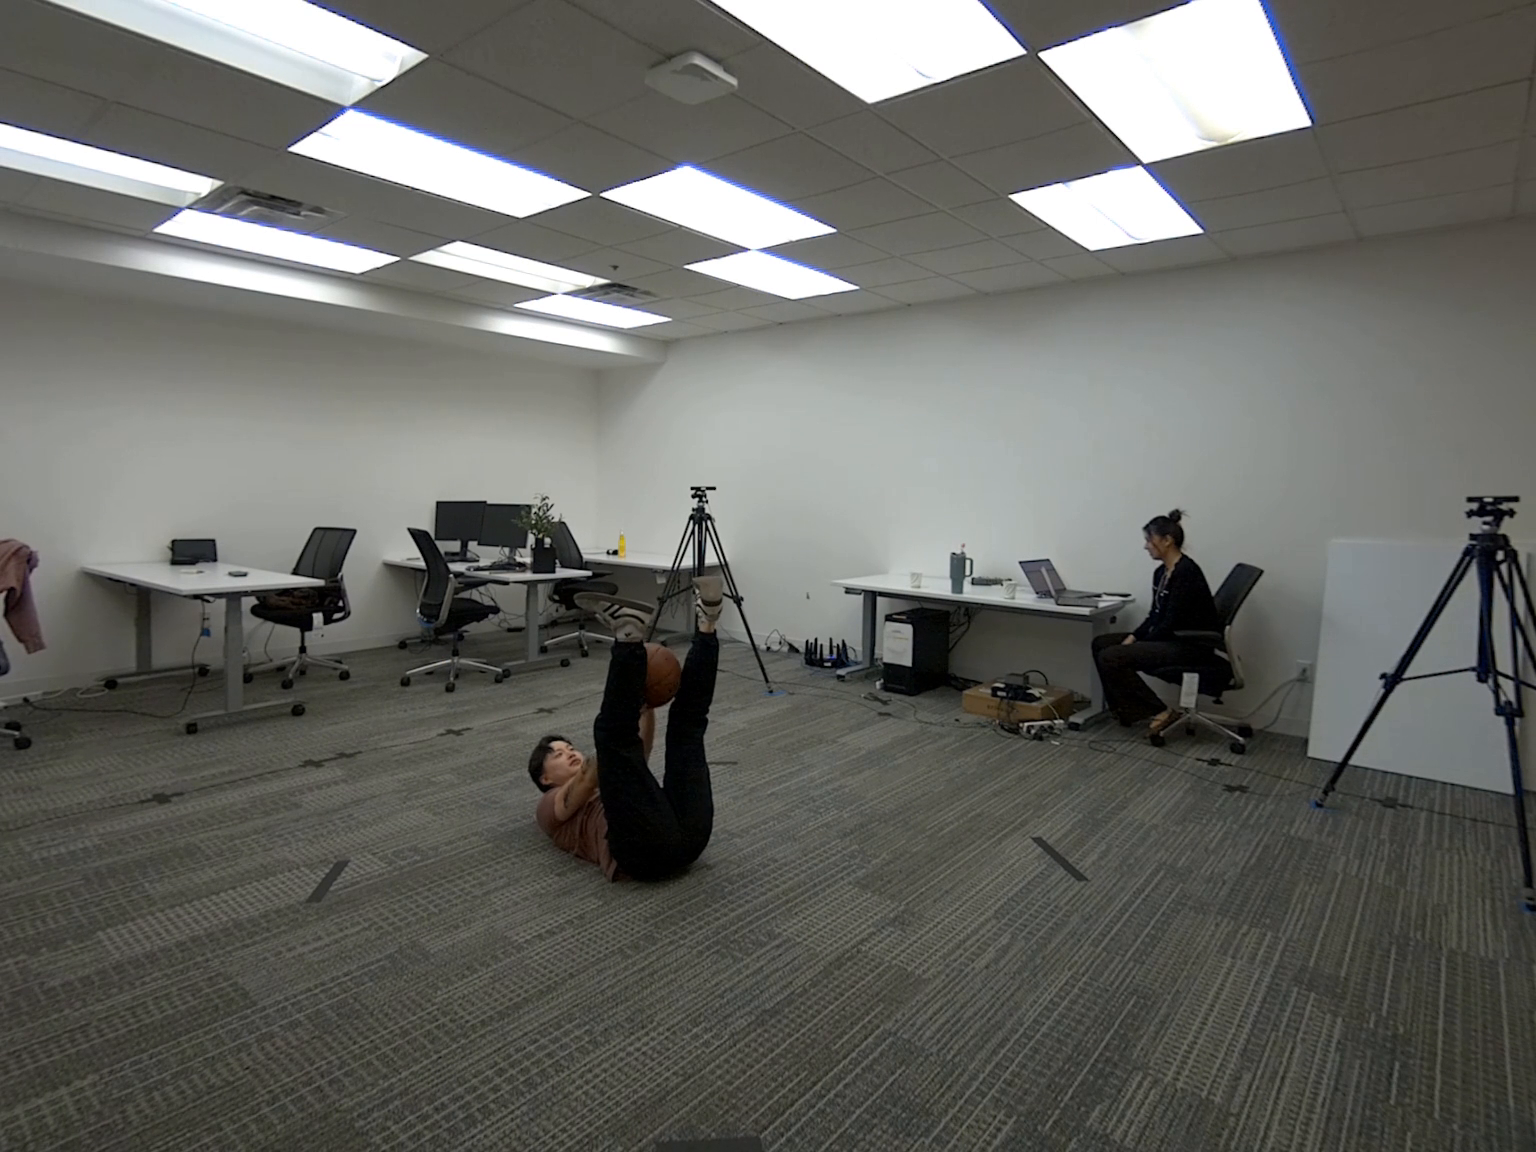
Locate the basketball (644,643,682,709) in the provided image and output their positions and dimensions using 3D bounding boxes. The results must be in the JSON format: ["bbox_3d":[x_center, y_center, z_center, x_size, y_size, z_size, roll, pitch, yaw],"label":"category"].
[{"bbox_3d":[-0.449,0.360,3.121,0.235,0.235,0.237,1,5,-2],"label":"basketball"}]
